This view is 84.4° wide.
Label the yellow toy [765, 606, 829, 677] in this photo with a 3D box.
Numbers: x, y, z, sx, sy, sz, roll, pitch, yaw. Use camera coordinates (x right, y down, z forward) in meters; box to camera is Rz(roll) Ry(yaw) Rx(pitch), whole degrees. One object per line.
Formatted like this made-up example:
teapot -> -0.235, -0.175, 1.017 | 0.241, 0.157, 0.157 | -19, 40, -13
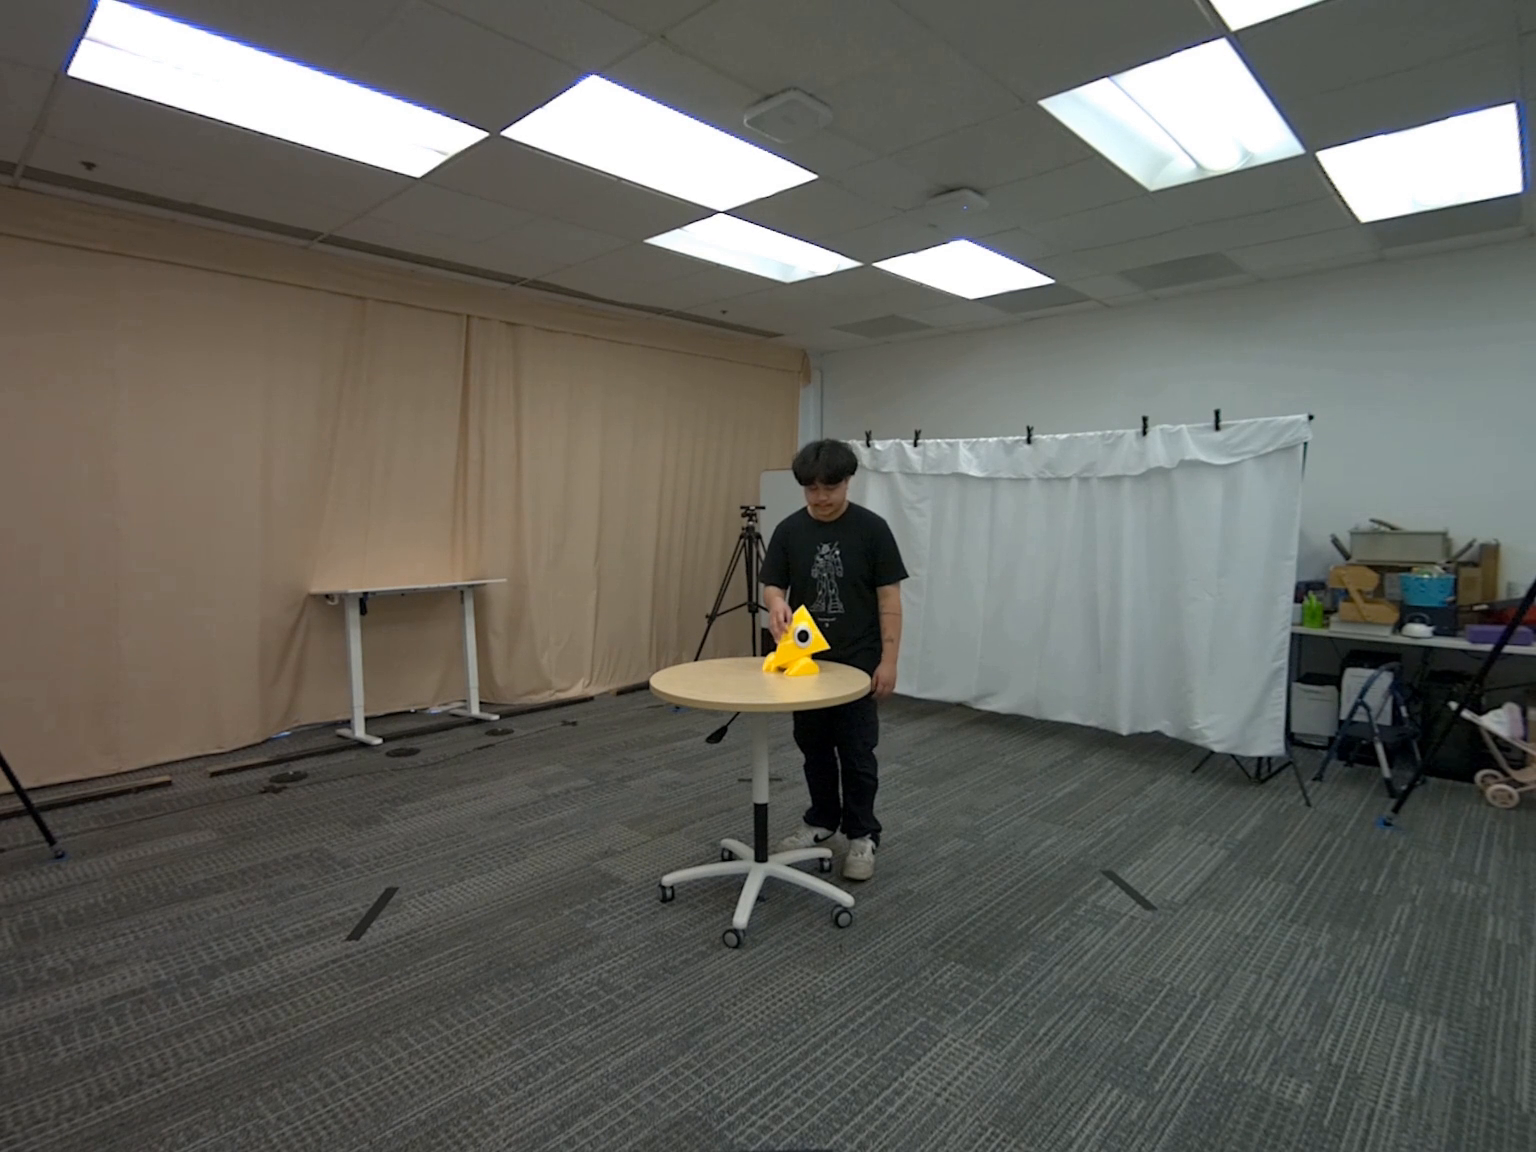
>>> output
yellow toy -> 0.092, 0.230, 3.052 | 0.212, 0.230, 0.187 | 5, 6, 44
